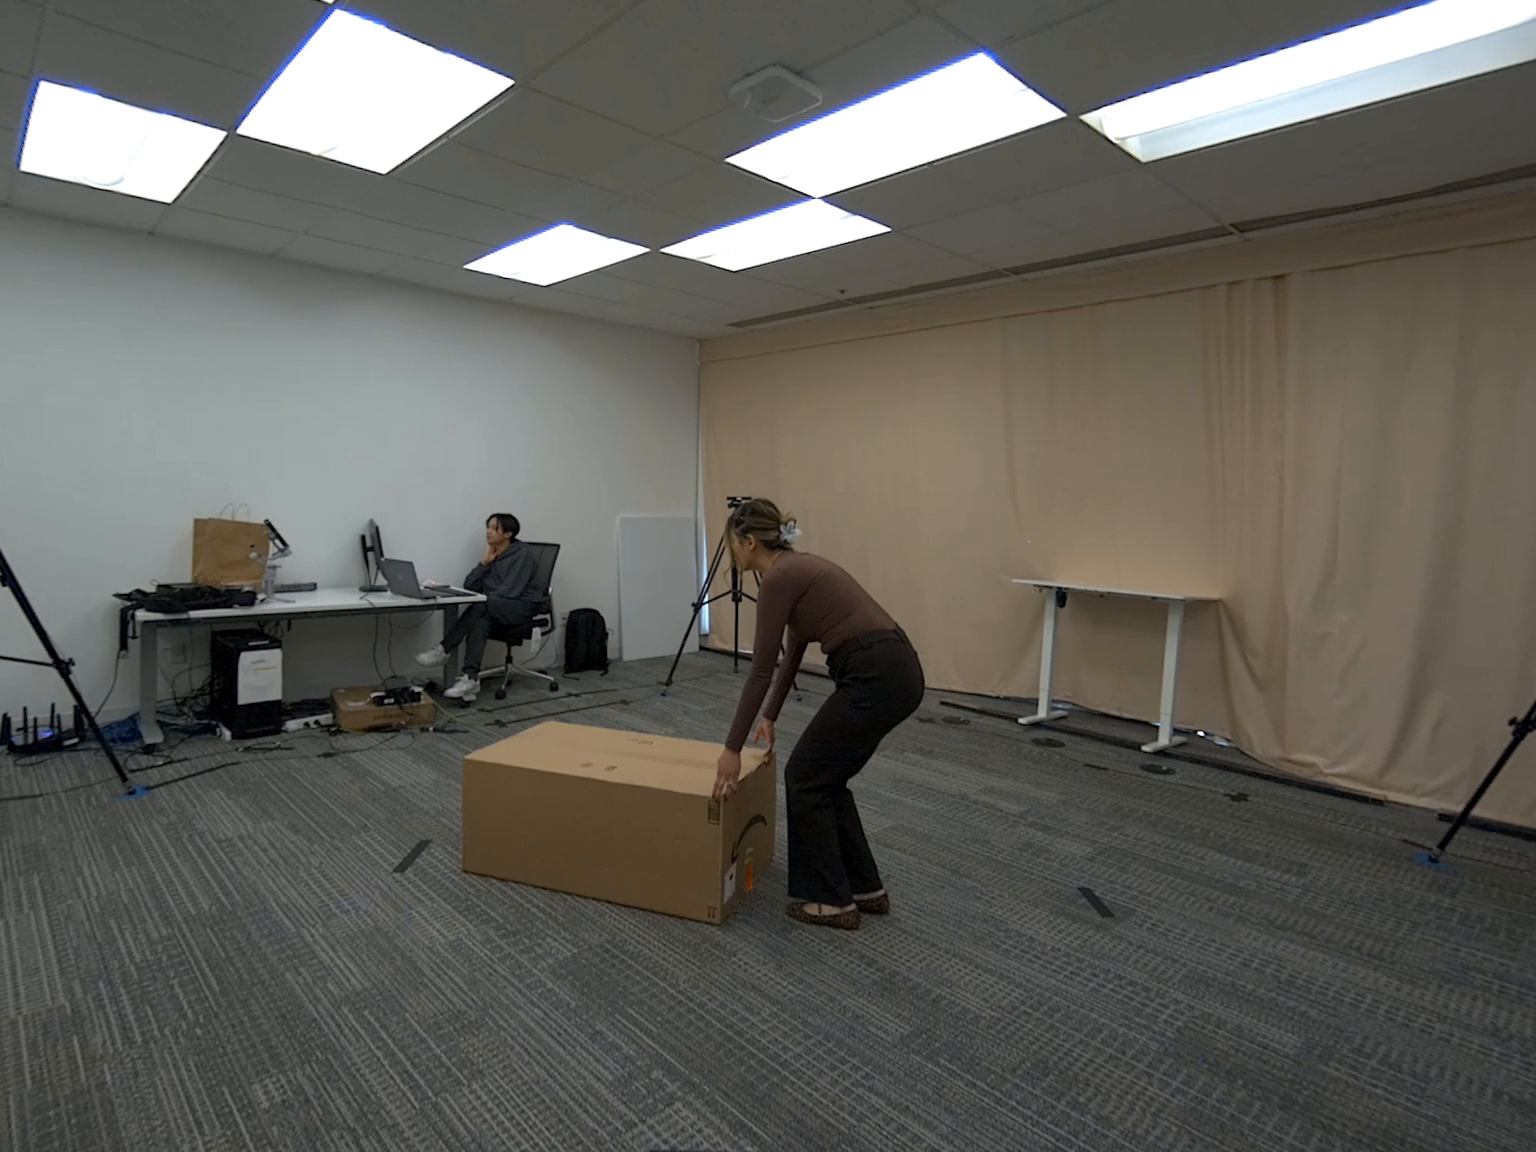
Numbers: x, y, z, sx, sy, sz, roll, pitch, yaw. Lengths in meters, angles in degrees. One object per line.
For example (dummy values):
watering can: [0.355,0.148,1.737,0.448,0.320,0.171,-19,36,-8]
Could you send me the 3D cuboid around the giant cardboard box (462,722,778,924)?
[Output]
giant cardboard box: [-0.548,0.878,3.170,1.044,0.446,0.576,4,4,20]
